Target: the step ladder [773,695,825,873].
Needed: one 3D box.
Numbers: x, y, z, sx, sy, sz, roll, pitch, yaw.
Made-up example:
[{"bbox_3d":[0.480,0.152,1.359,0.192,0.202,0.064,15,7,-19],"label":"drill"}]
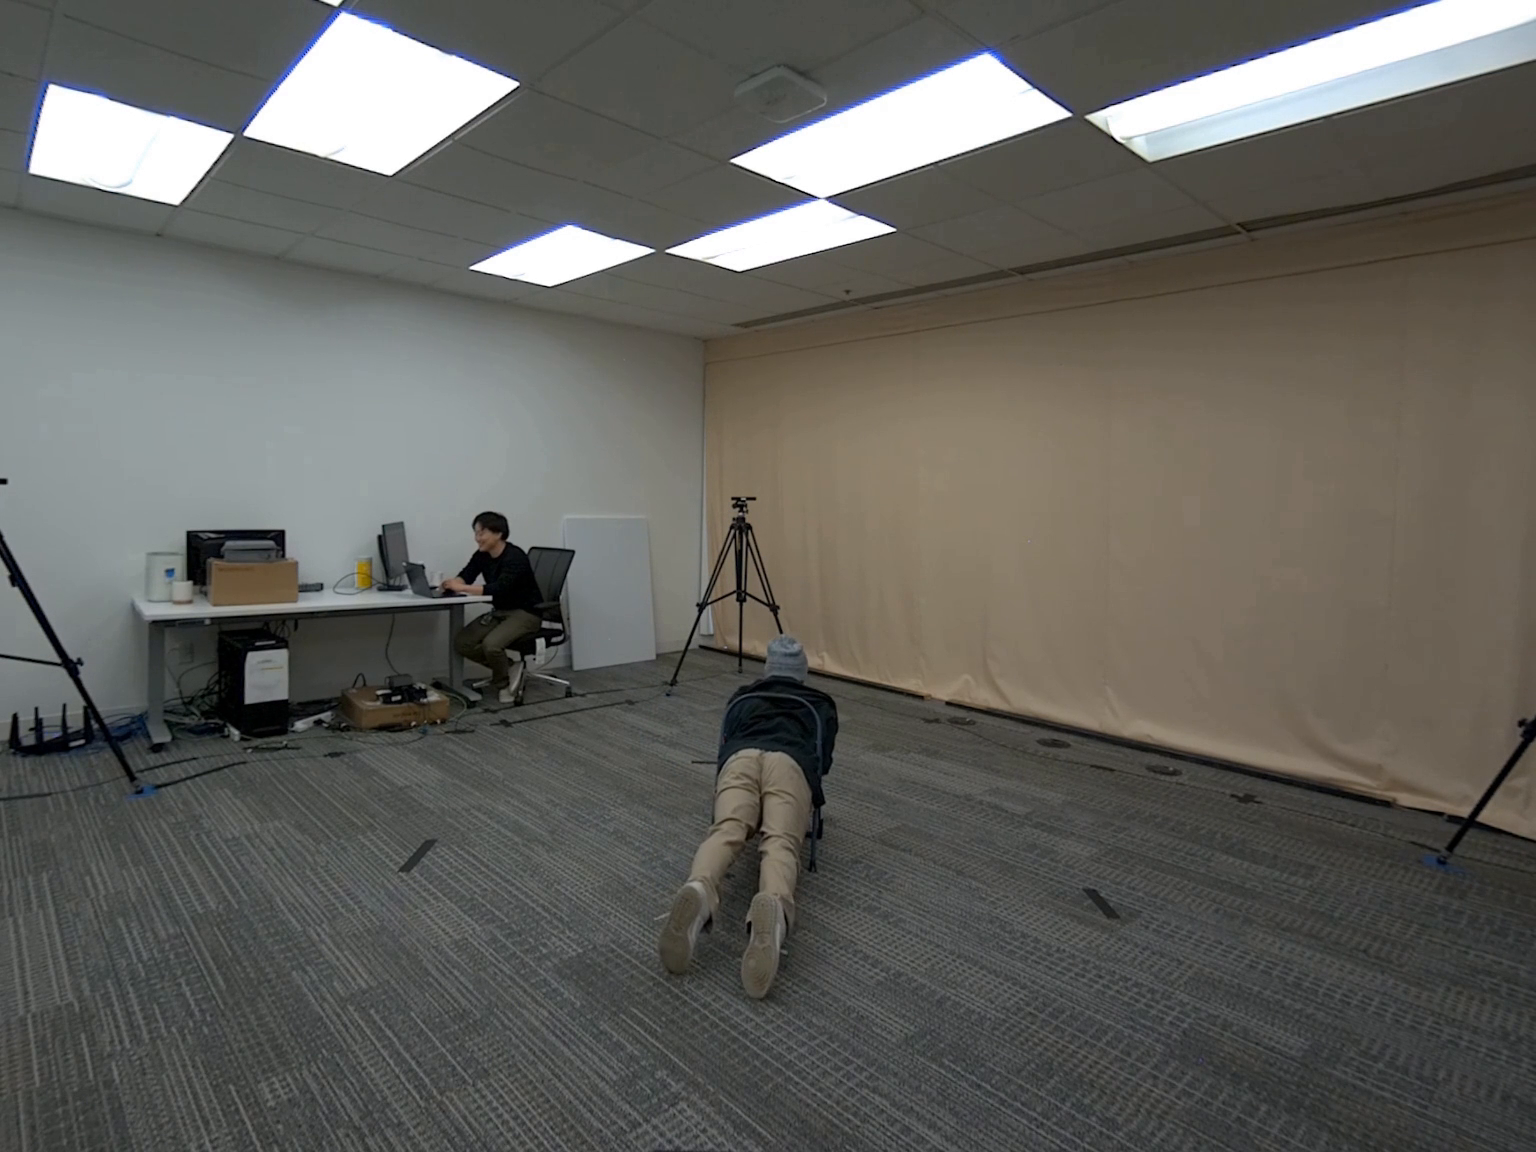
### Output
[{"bbox_3d":[-0.007,0.796,3.353,0.434,0.605,0.347,1,3,10],"label":"step ladder"}]
